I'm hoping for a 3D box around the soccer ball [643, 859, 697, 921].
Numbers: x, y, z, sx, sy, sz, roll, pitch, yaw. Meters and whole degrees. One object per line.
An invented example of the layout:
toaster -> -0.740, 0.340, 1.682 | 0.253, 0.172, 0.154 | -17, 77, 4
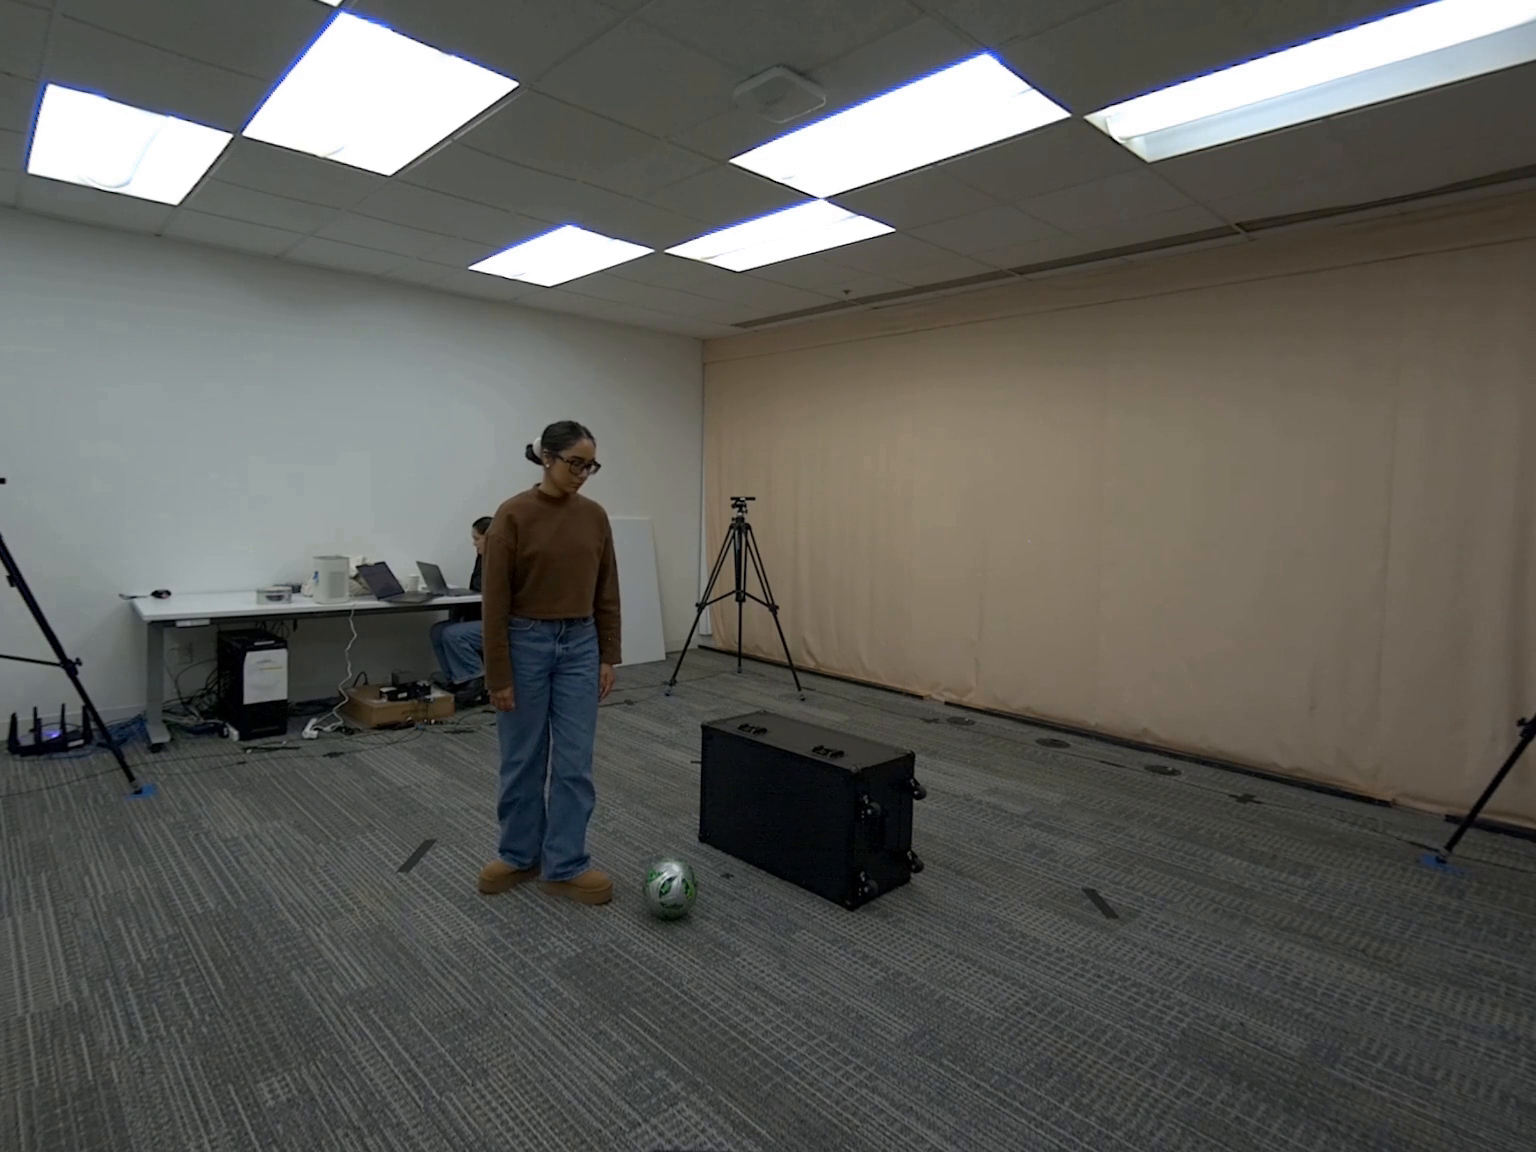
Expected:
soccer ball -> -0.333, 1.036, 2.787 | 0.187, 0.187, 0.188 | 1, 4, -1
